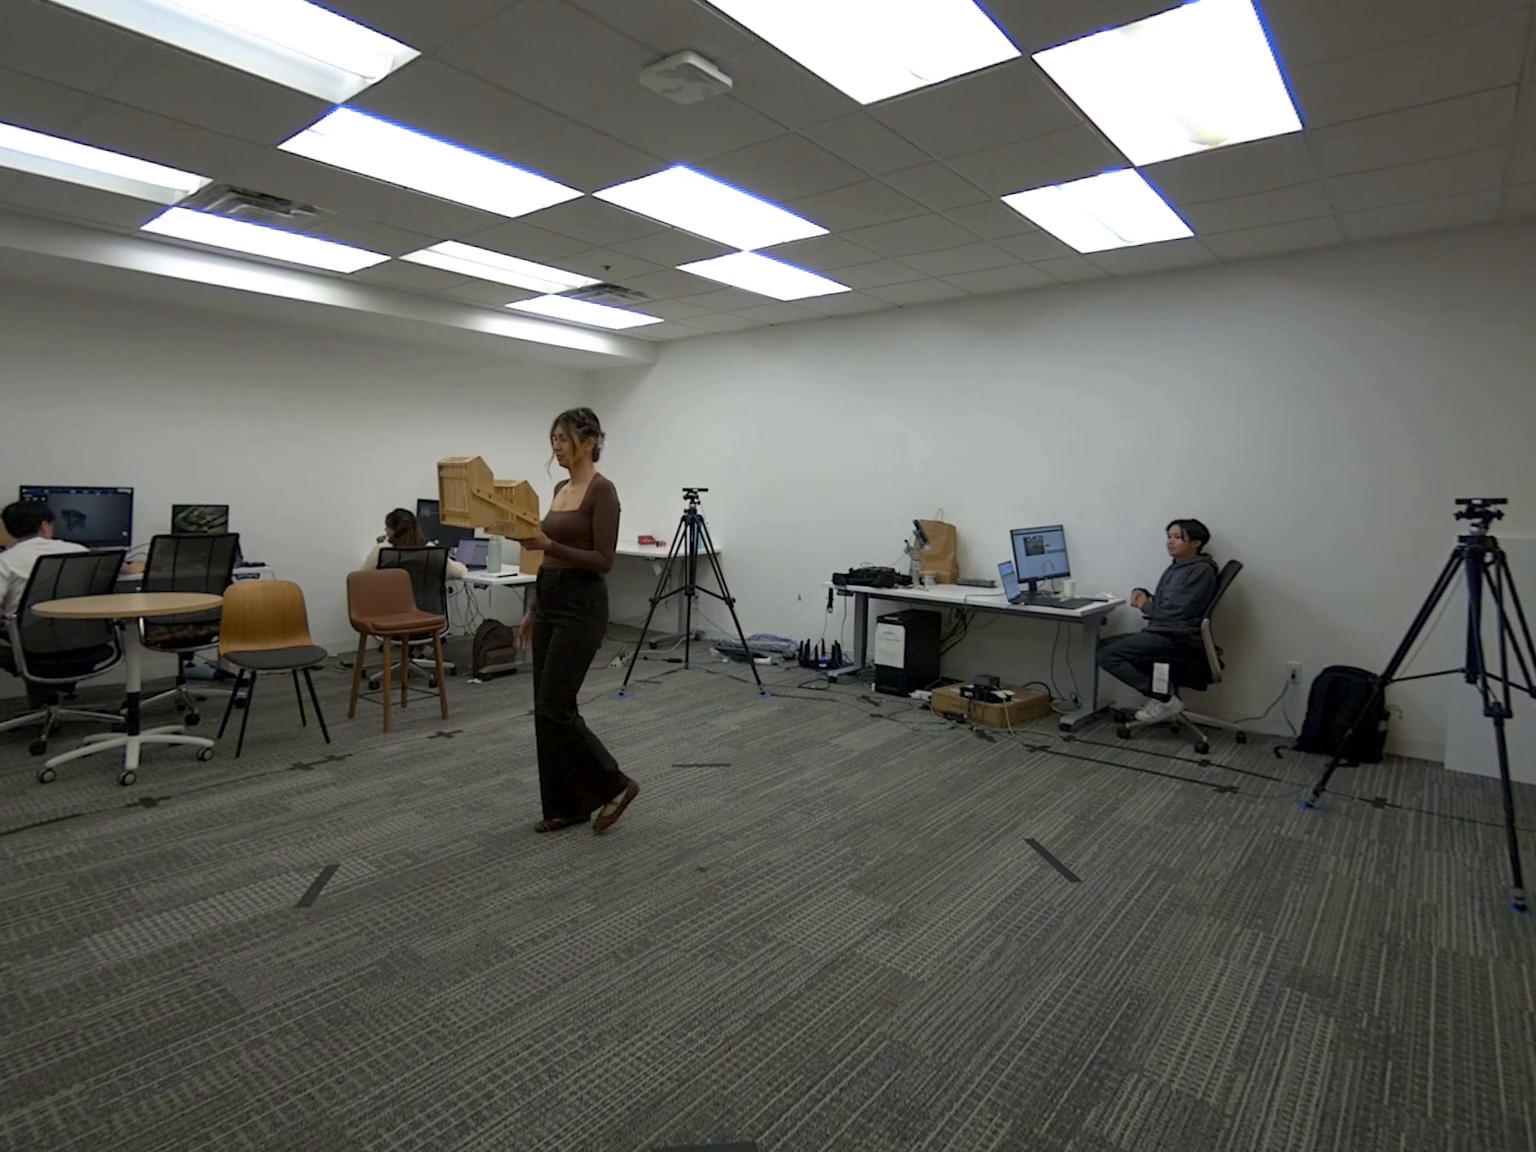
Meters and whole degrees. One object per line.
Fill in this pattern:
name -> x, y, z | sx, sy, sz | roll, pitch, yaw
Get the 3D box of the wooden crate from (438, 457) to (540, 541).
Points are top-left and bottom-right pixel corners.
wooden crate -> -1.038, -0.297, 3.139 | 0.266, 0.300, 0.336 | -7, 9, -39
